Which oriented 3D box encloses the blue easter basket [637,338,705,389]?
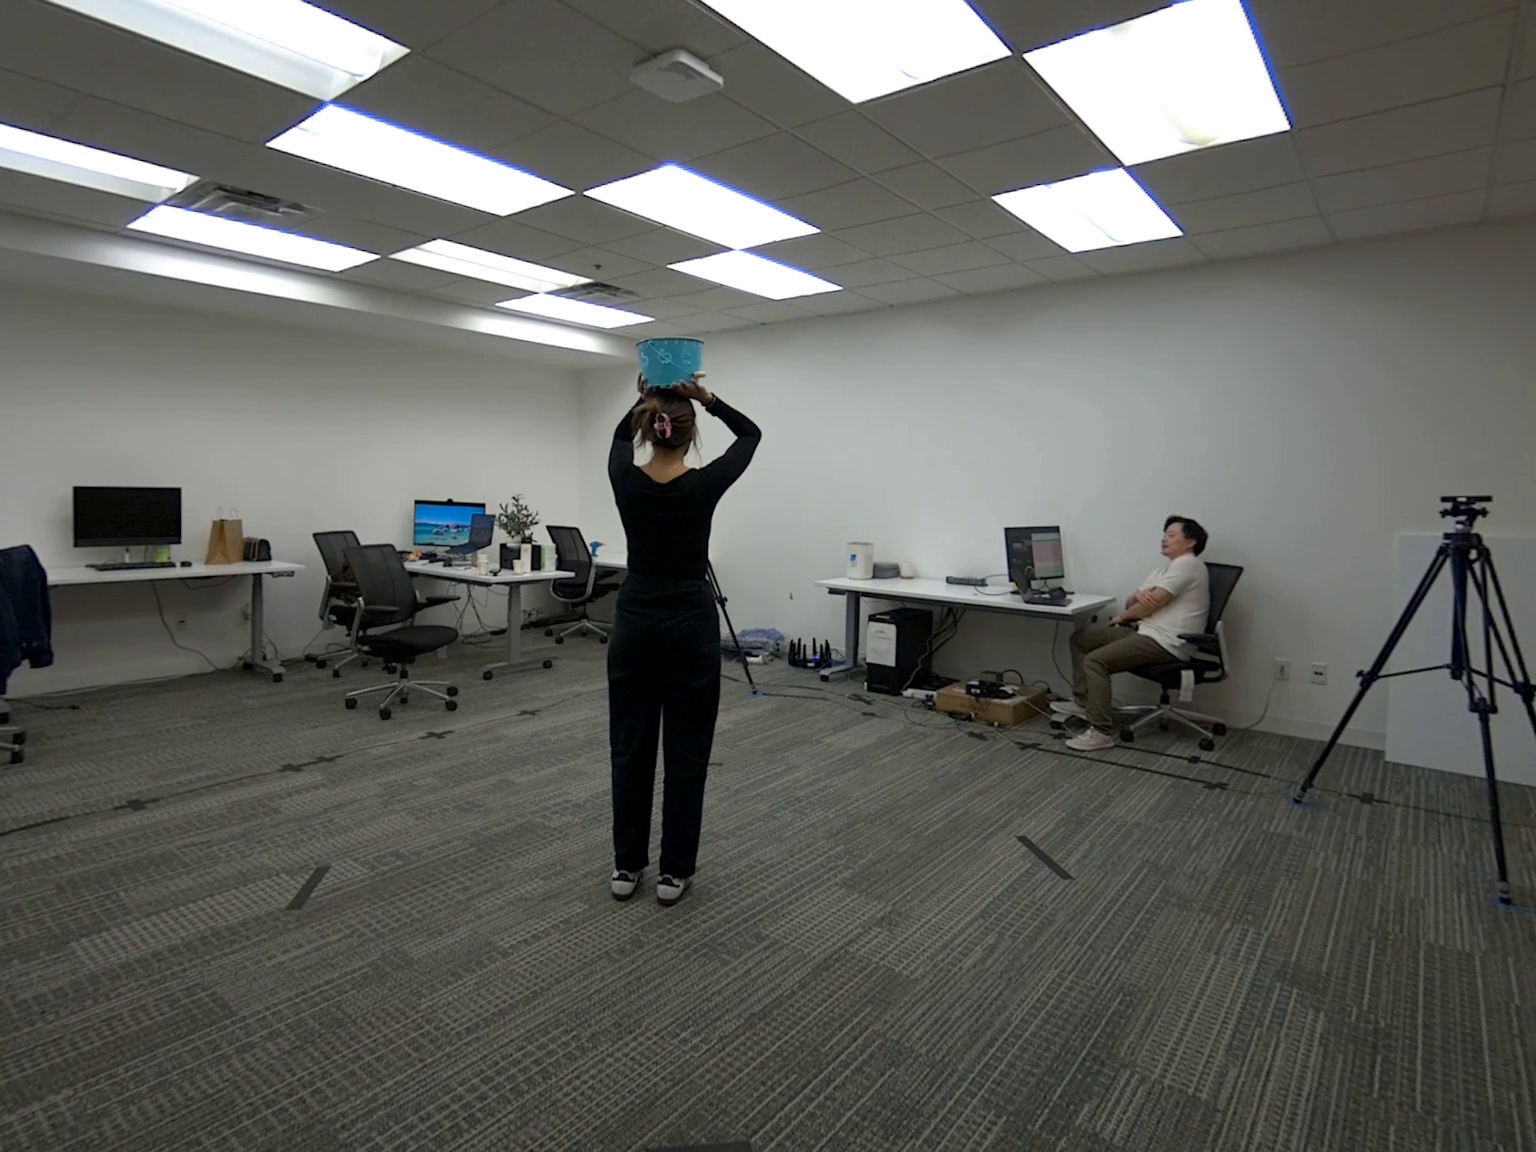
[{"bbox_3d":[-0.335,-0.710,2.872,0.243,0.155,0.245,-3,6,-2],"label":"blue easter basket"}]
